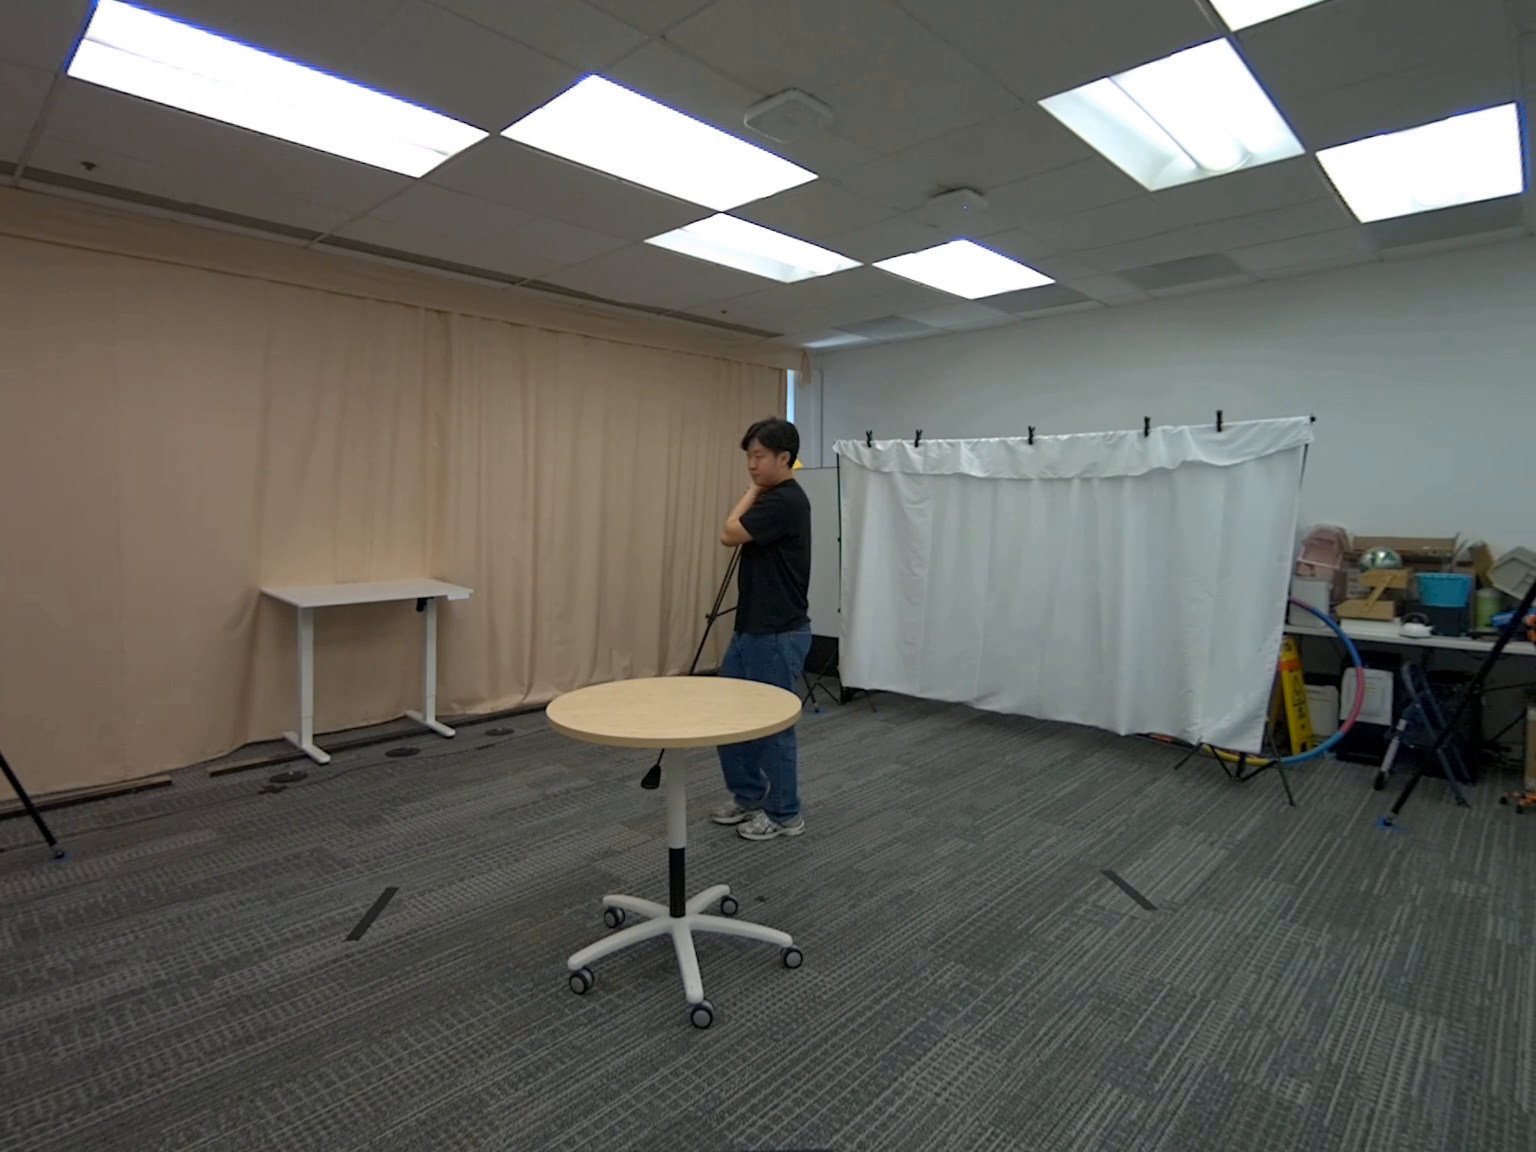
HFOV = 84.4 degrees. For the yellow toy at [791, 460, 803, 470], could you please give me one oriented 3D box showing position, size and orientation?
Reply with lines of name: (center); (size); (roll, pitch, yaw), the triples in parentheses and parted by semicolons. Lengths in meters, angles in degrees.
yellow toy: (0.013, -0.488, 3.644); (0.188, 0.230, 0.210); (-11, 3, -30)
